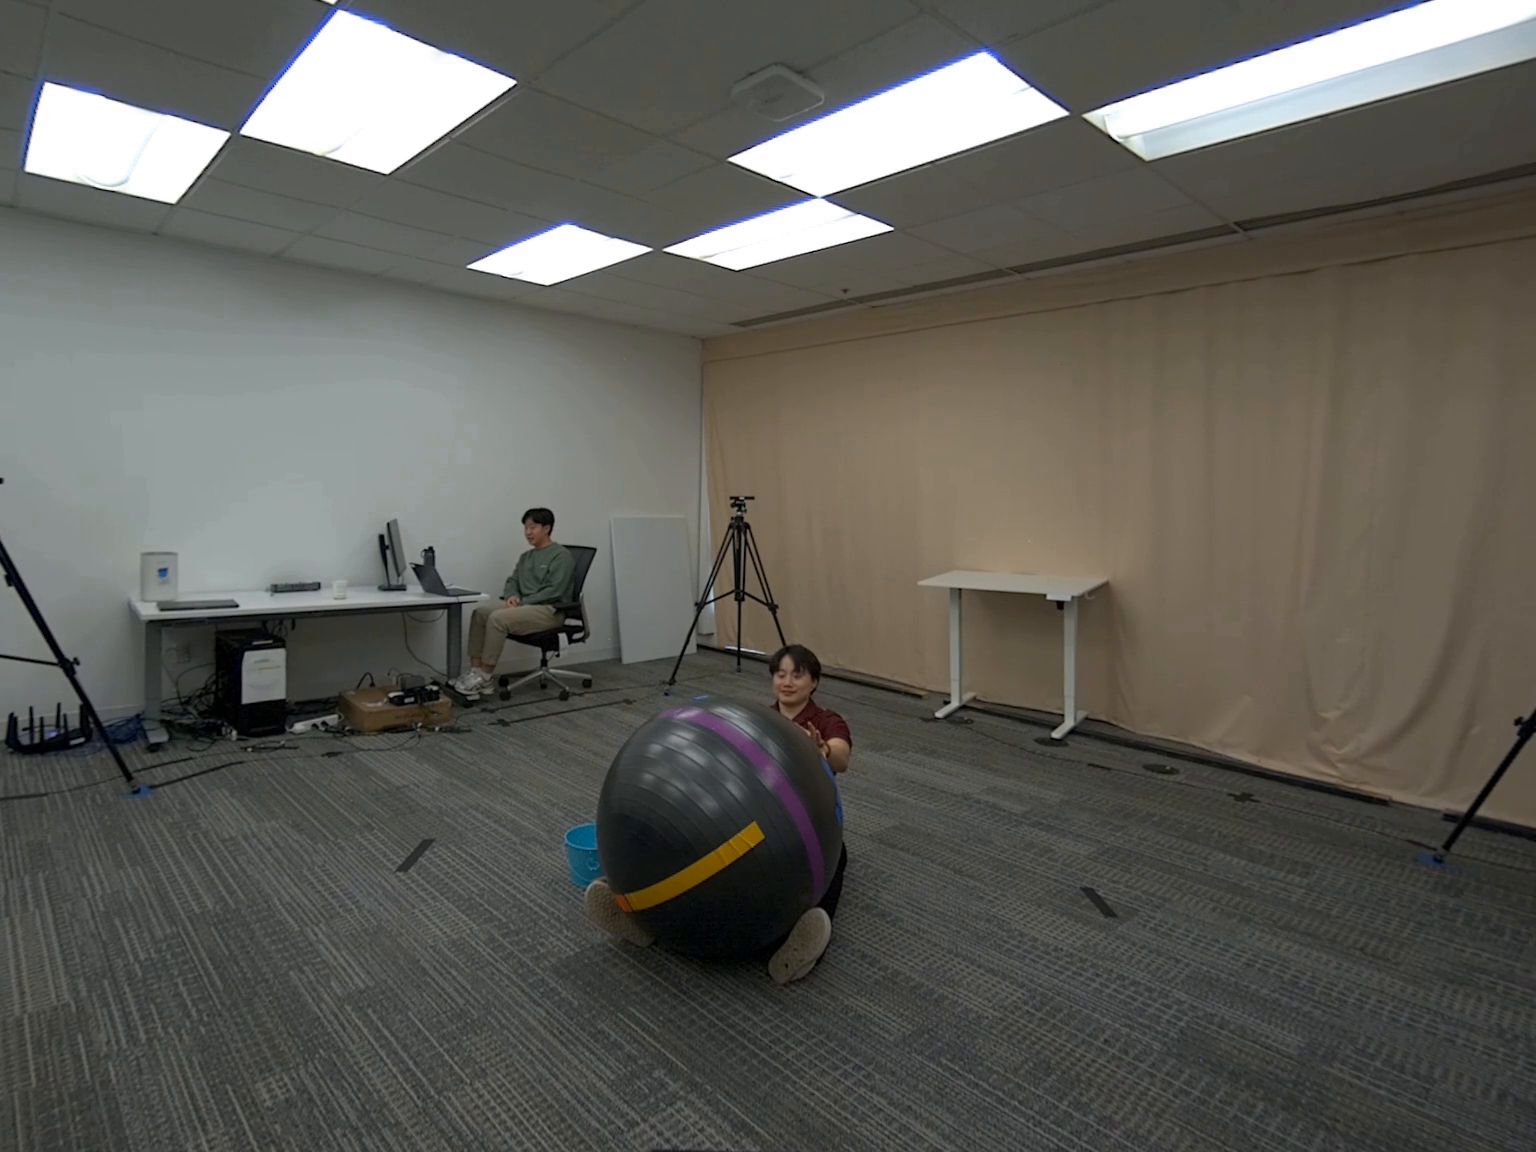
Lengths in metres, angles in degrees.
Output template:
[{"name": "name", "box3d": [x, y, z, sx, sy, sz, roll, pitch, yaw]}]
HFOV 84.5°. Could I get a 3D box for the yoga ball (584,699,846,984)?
[{"name": "yoga ball", "box3d": [-0.148, 0.760, 2.589, 0.757, 0.756, 0.761, 1, 4, -1]}]
